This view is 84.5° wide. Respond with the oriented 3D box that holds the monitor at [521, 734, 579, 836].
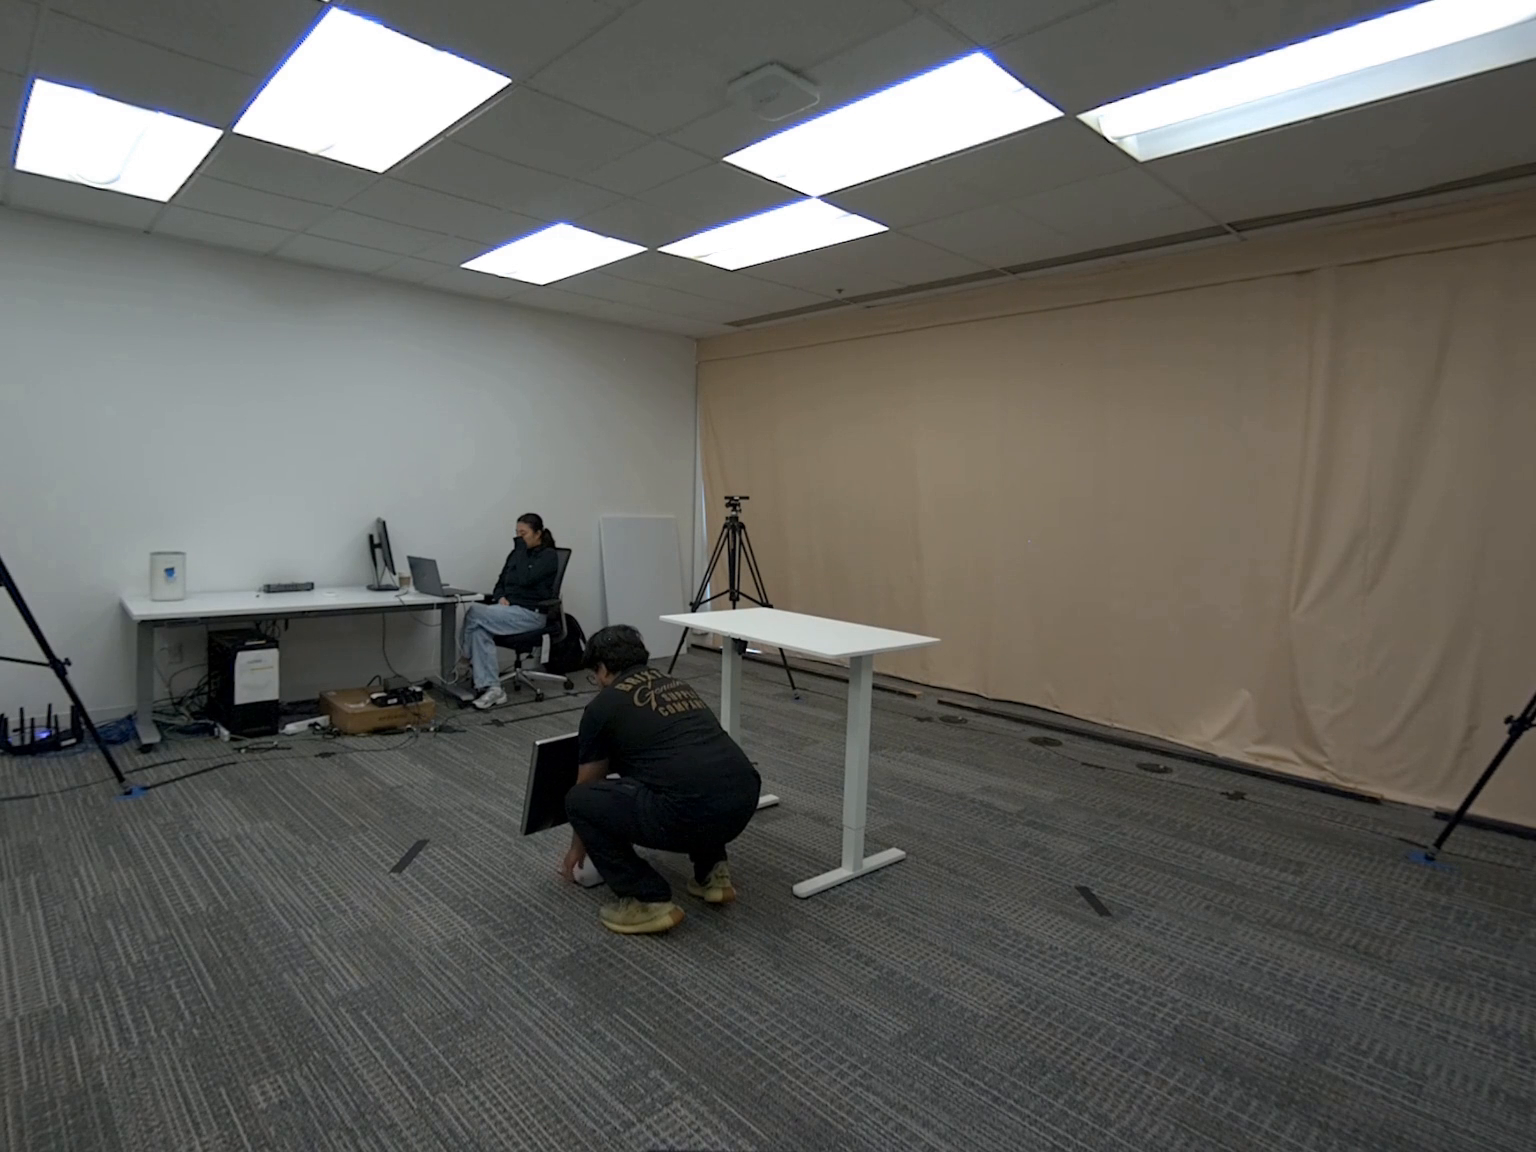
[{"bbox_3d":[-0.599,0.827,3.084,0.216,0.551,0.552,13,11,43],"label":"monitor"}]
